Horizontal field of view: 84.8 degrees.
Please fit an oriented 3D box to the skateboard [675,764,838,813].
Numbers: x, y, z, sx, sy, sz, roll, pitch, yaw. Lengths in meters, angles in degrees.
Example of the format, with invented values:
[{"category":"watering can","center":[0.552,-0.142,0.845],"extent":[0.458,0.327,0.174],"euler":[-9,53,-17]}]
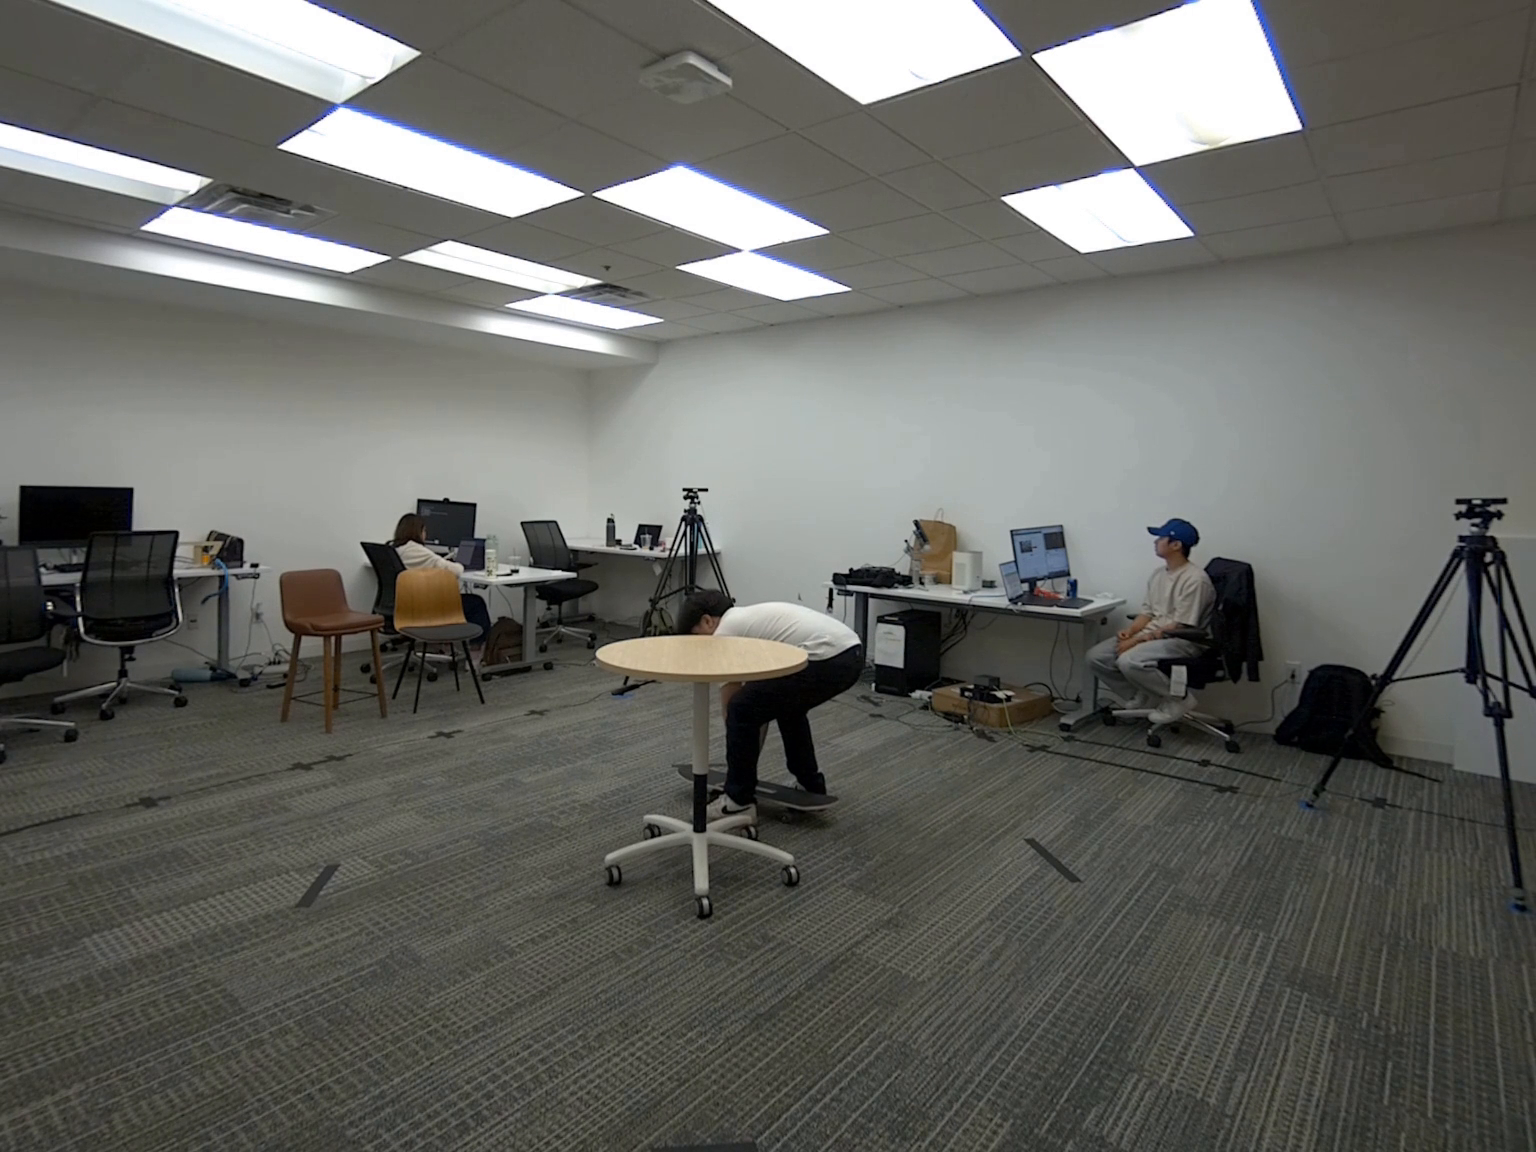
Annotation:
[{"category":"skateboard","center":[-0.074,0.956,3.722],"extent":[0.809,0.110,0.188],"euler":[4,6,30]}]
